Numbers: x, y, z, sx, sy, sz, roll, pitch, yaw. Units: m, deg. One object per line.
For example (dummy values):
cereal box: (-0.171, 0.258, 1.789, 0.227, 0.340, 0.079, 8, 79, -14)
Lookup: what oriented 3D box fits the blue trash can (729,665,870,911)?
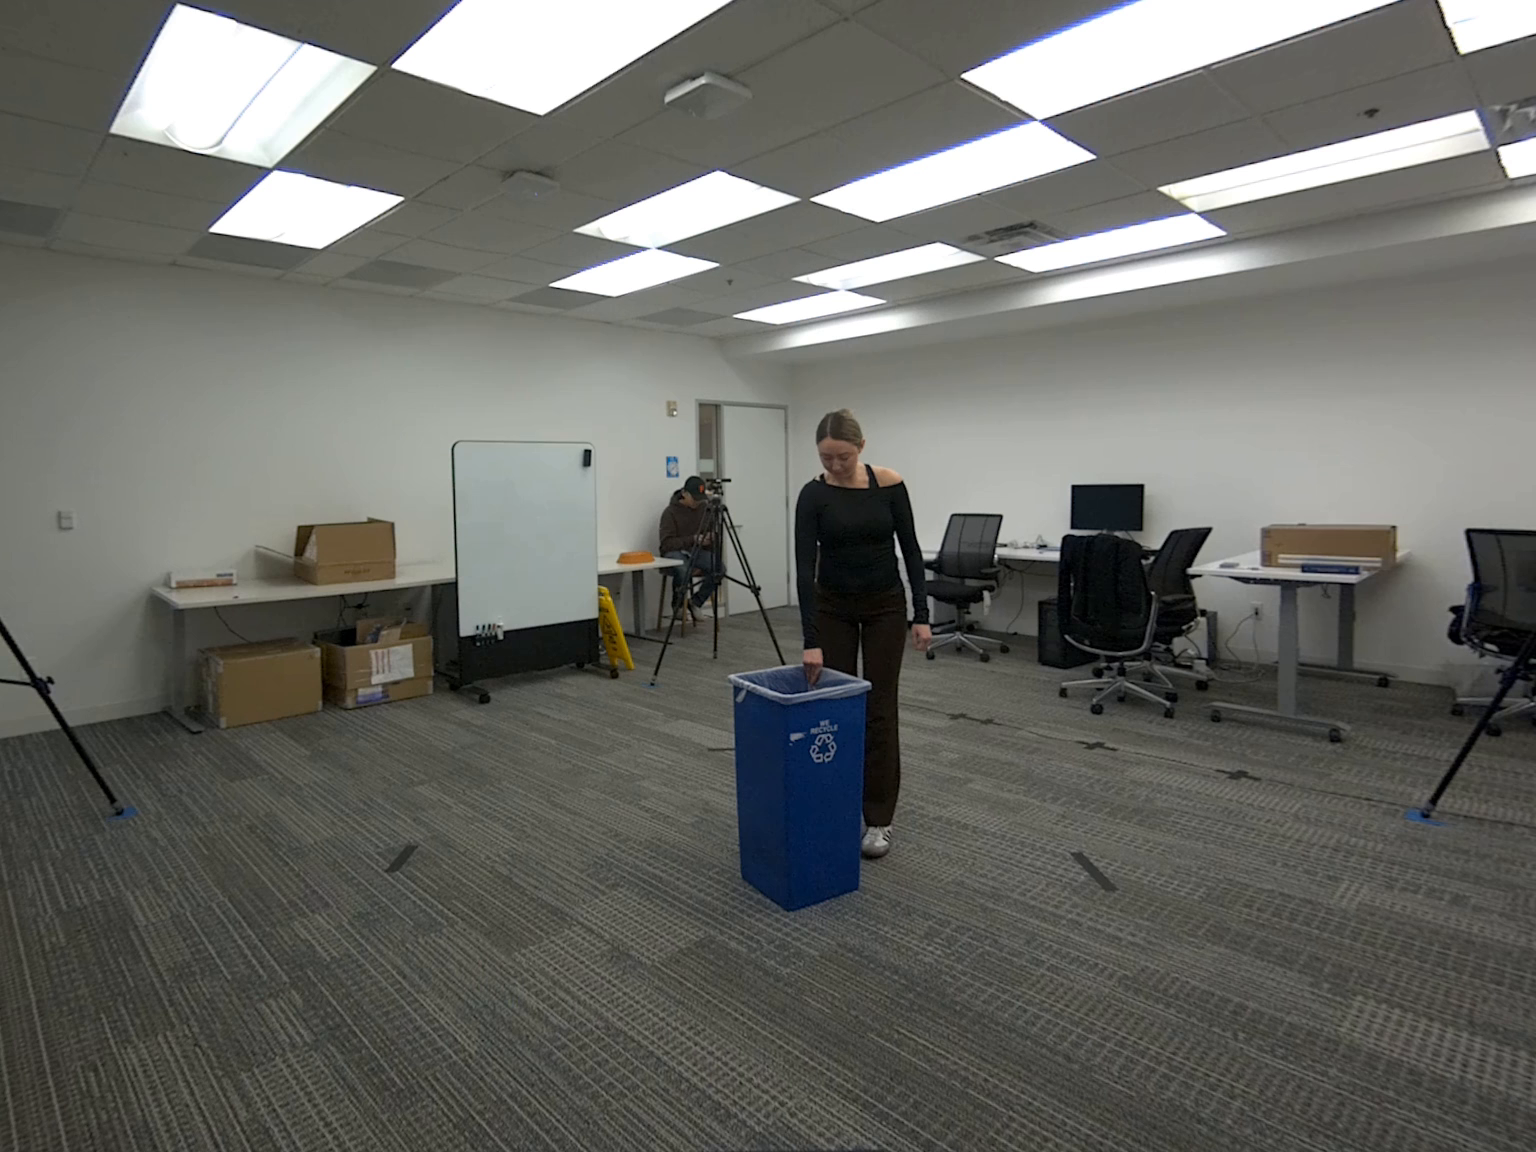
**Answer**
blue trash can: (0.109, 0.705, 2.933, 0.365, 0.711, 0.389, -3, 5, -33)
